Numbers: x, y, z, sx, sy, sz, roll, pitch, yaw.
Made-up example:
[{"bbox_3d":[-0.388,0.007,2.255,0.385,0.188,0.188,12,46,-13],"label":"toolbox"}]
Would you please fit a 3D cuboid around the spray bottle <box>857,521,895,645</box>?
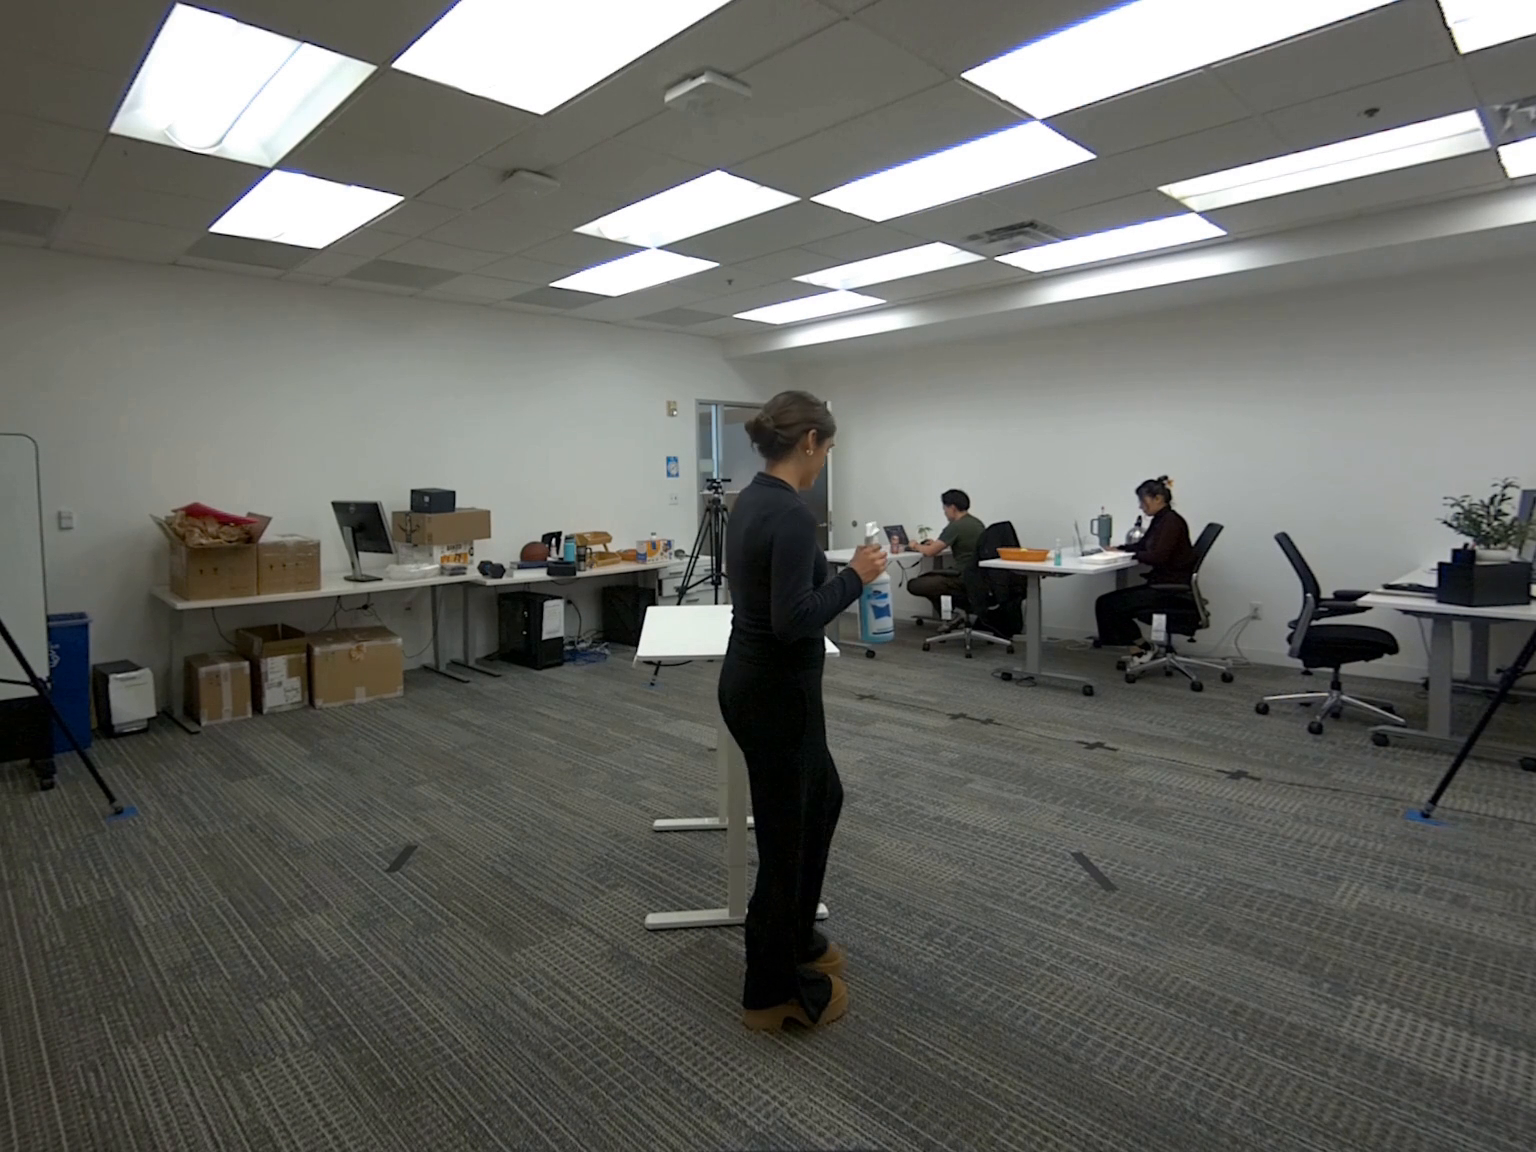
[{"bbox_3d":[0.254,0.017,2.159,0.089,0.296,0.088,2,5,44],"label":"spray bottle"}]
